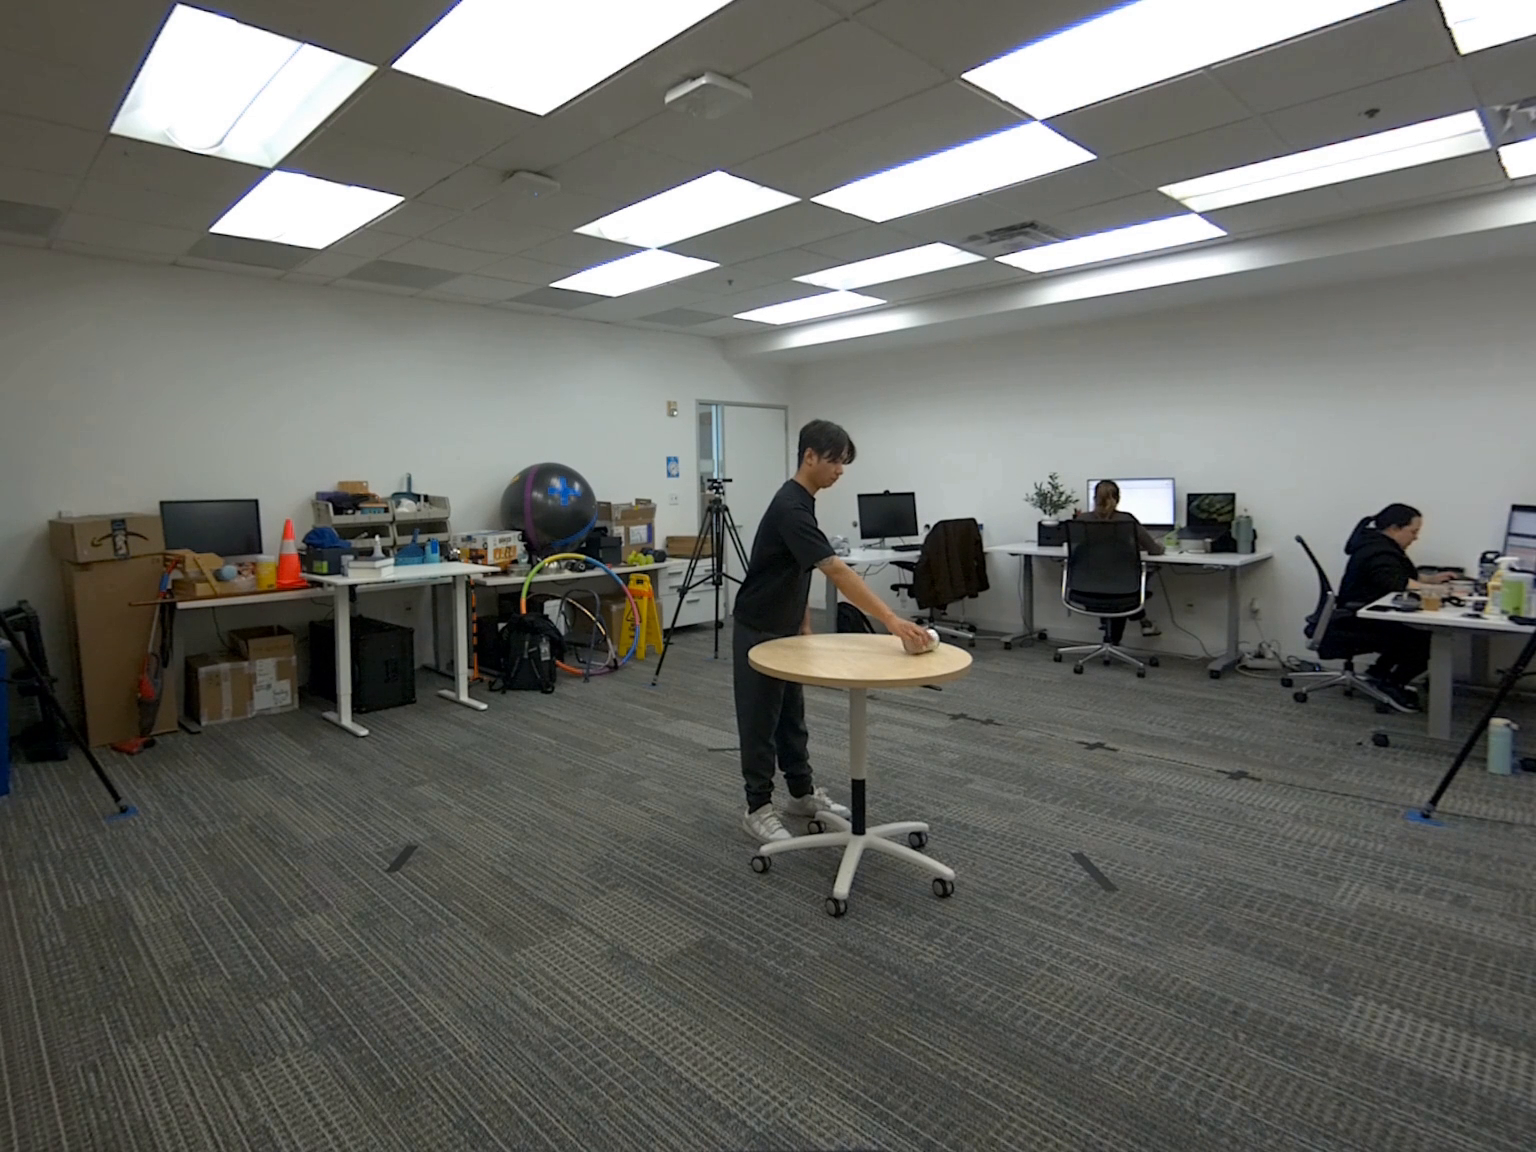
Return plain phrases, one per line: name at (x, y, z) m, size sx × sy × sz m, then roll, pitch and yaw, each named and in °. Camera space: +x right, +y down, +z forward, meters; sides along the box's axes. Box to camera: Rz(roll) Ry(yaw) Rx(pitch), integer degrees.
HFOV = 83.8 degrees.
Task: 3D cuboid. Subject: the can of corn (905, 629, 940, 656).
can of corn at (0.539, 0.228, 2.994) m, size 0.108 × 0.074 × 0.076 m, roll -6°, pitch 7°, yaw -34°
